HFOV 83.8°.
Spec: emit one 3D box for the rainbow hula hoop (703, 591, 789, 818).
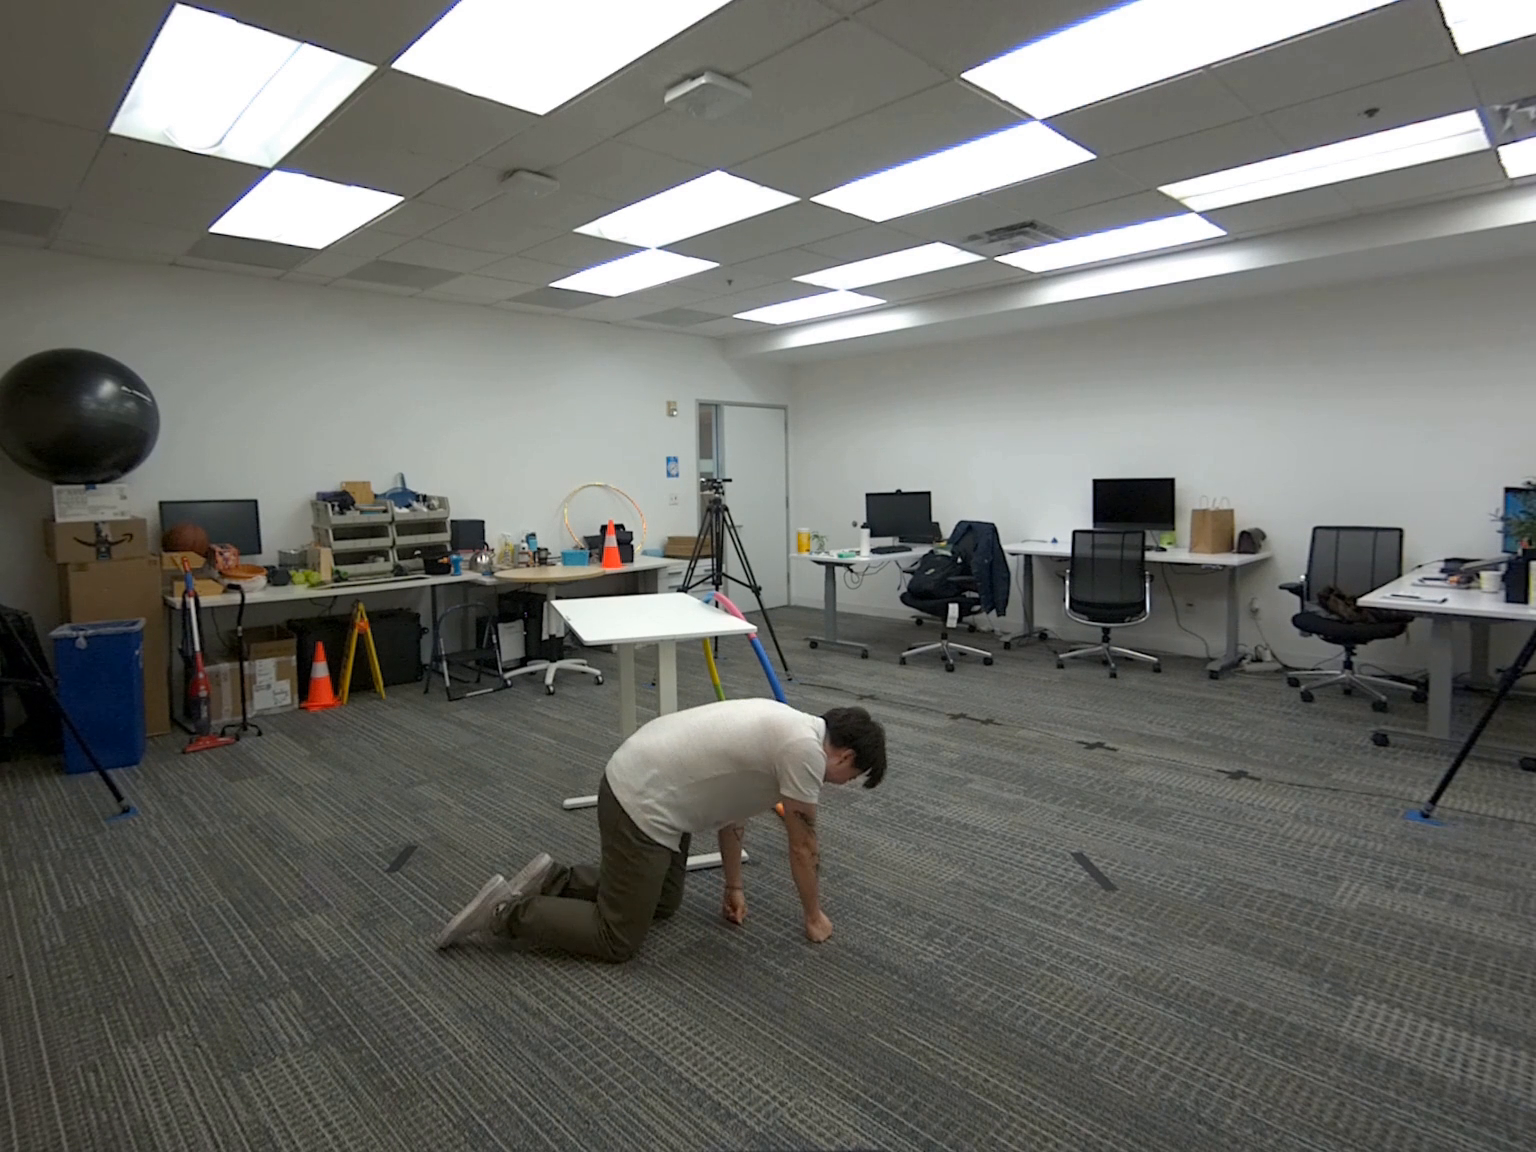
[{"bbox_3d":[-0.064,0.533,3.501,0.035,0.969,0.999,-19,10,-17],"label":"rainbow hula hoop"}]
